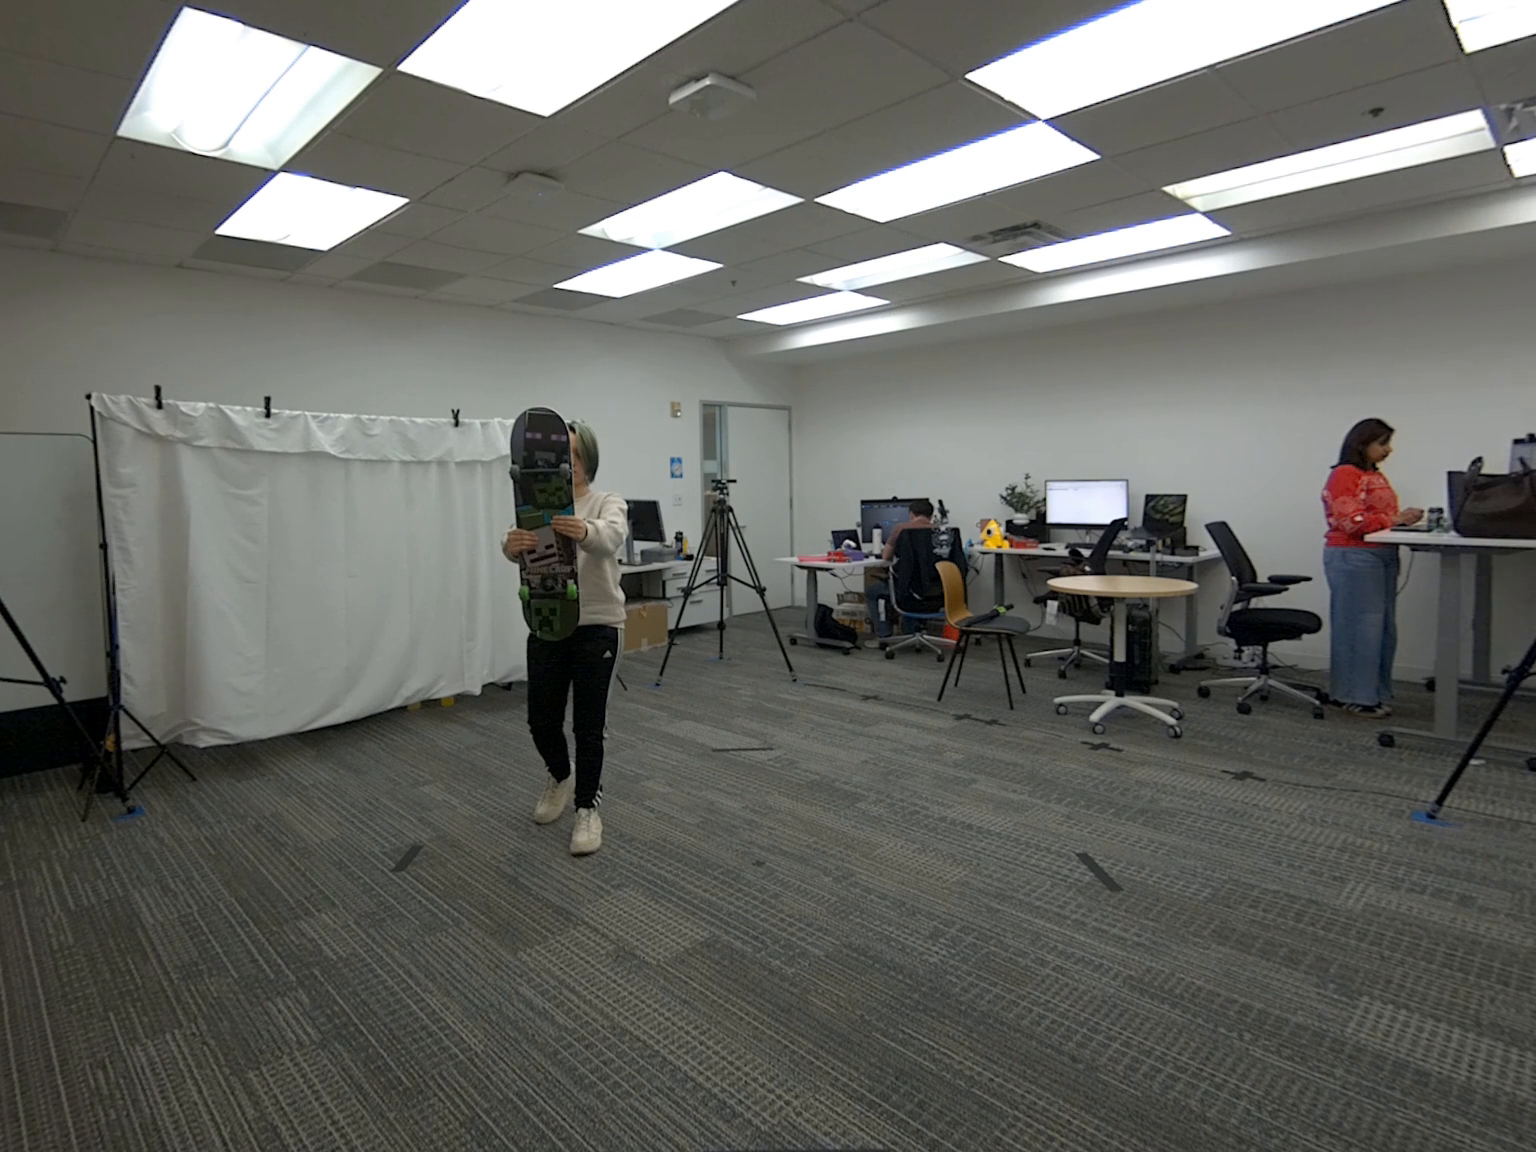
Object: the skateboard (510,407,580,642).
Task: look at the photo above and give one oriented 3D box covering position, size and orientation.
[{"bbox_3d":[-0.723,-0.147,2.763,0.193,0.775,0.112,-2,13,-4],"label":"skateboard"}]
